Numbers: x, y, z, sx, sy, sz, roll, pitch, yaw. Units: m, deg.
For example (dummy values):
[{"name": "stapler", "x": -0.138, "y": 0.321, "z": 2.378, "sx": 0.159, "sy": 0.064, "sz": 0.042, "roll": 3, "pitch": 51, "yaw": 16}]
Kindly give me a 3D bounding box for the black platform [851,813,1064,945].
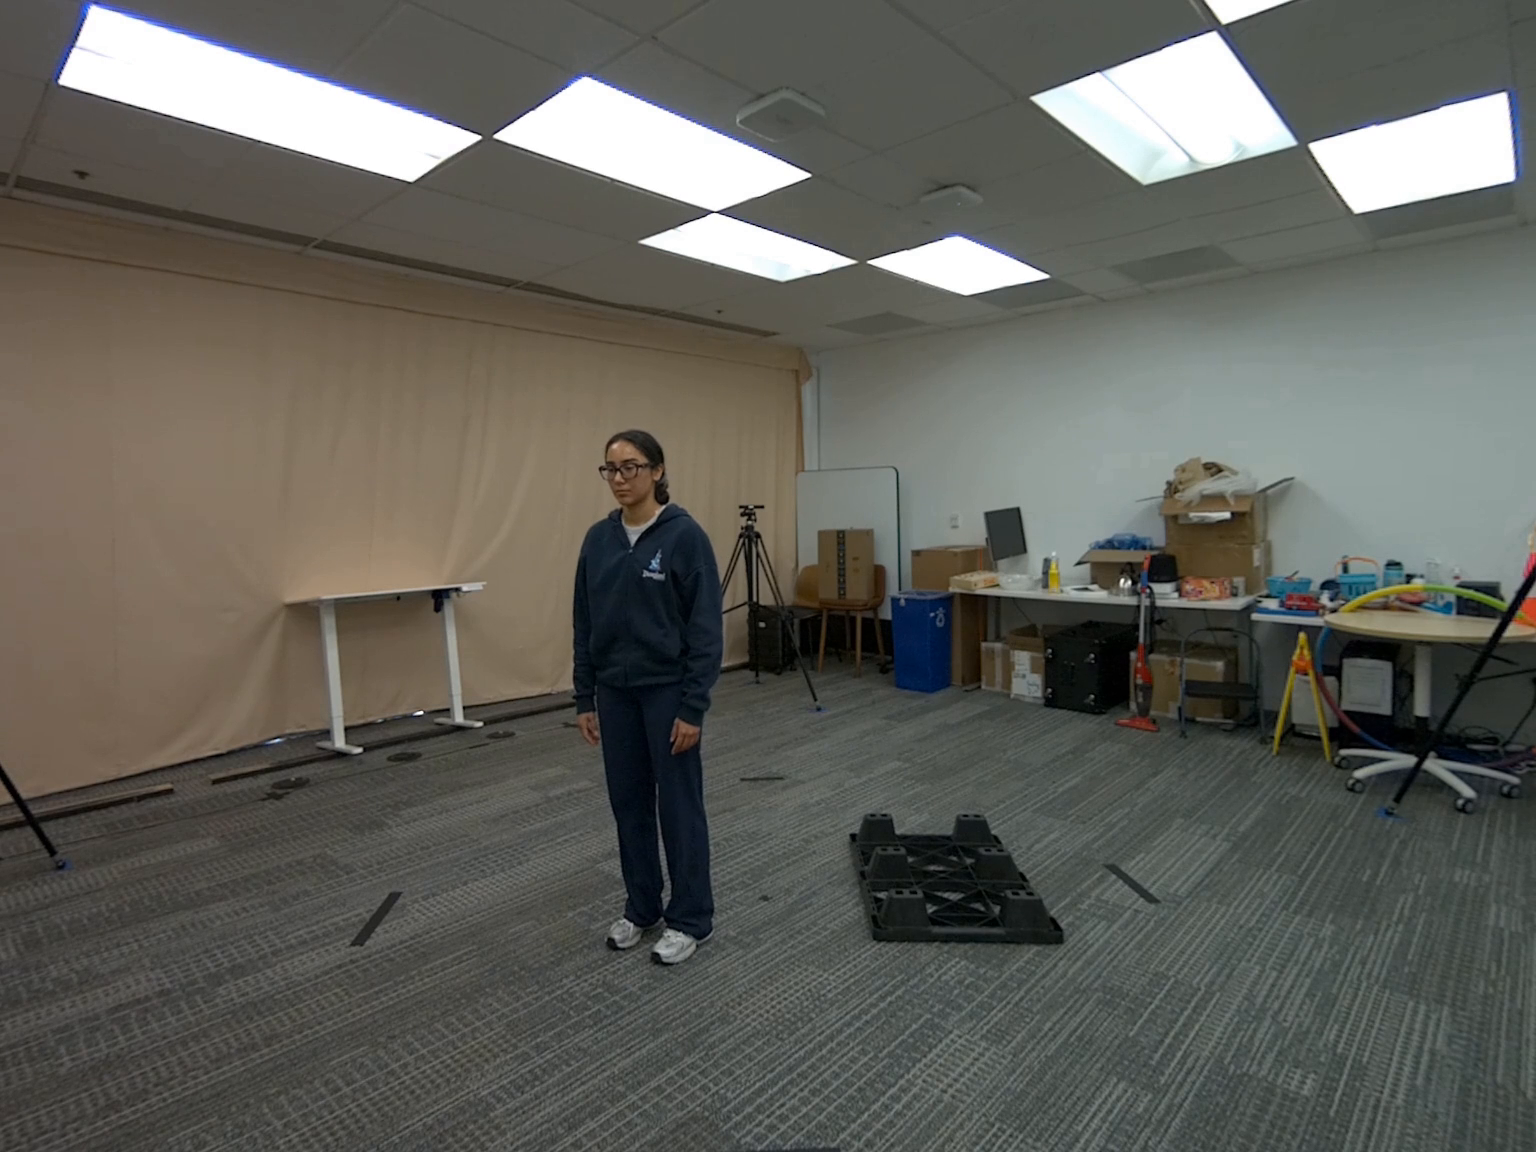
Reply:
[{"name": "black platform", "x": 0.643, "y": 1.061, "z": 3.037, "sx": 0.607, "sy": 0.143, "sz": 0.806, "roll": -1, "pitch": 5, "yaw": 1}]
